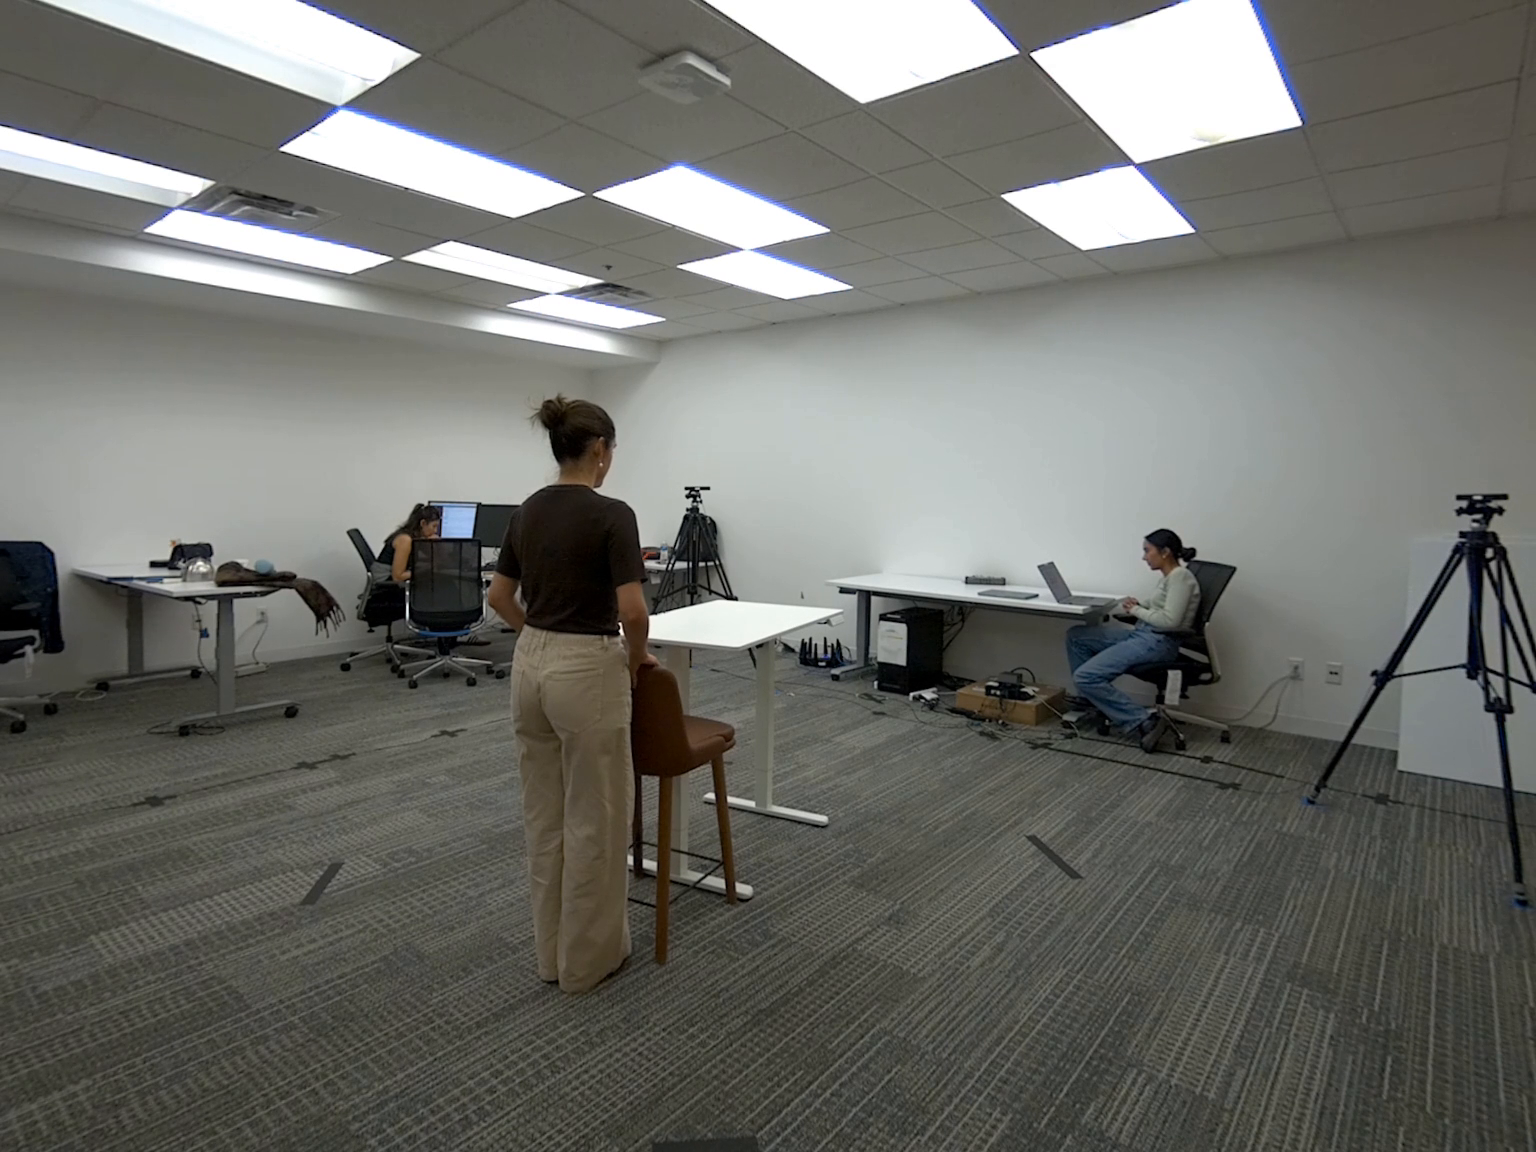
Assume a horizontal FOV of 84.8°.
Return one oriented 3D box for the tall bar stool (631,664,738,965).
[{"bbox_3d":[-0.385,0.661,2.719,0.469,0.885,0.457,2,6,28],"label":"tall bar stool"}]
